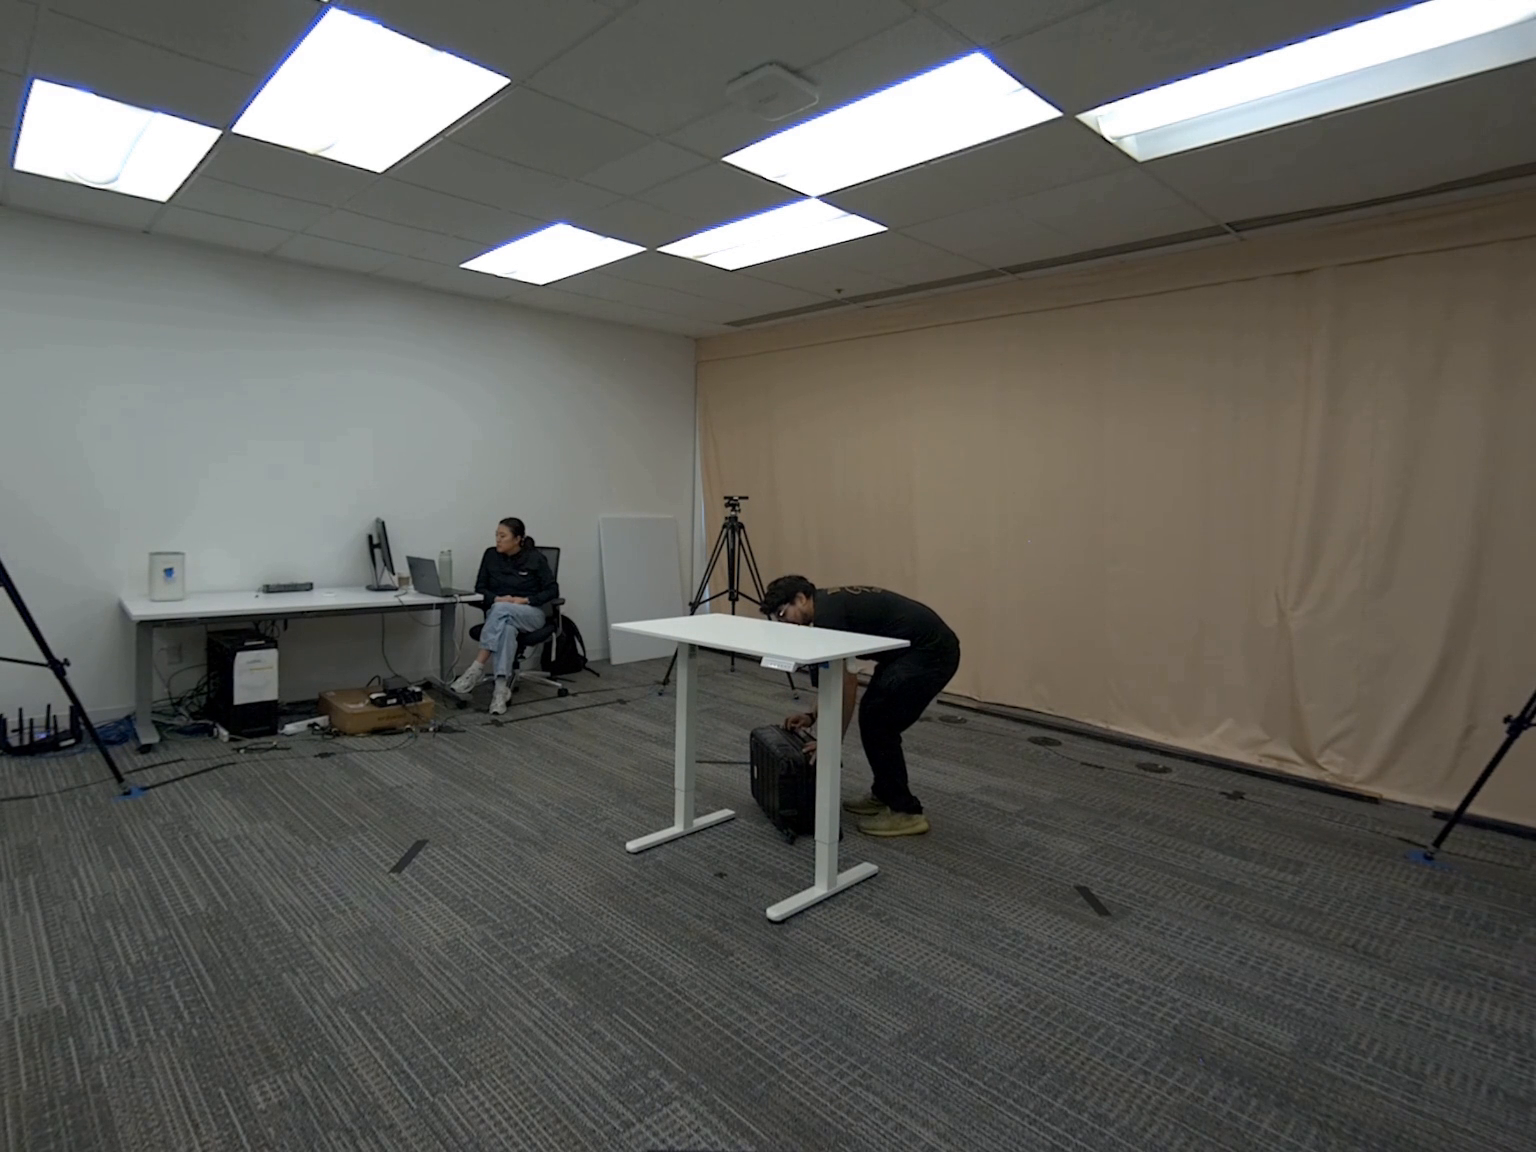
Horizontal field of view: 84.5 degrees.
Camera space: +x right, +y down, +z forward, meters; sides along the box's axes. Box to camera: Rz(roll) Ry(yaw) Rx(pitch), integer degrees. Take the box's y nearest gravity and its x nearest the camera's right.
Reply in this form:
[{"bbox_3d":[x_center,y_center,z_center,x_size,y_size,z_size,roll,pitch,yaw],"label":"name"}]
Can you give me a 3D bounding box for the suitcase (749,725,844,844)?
[{"bbox_3d":[0.096,0.869,3.660,0.245,0.374,0.558,-2,6,-17],"label":"suitcase"}]
